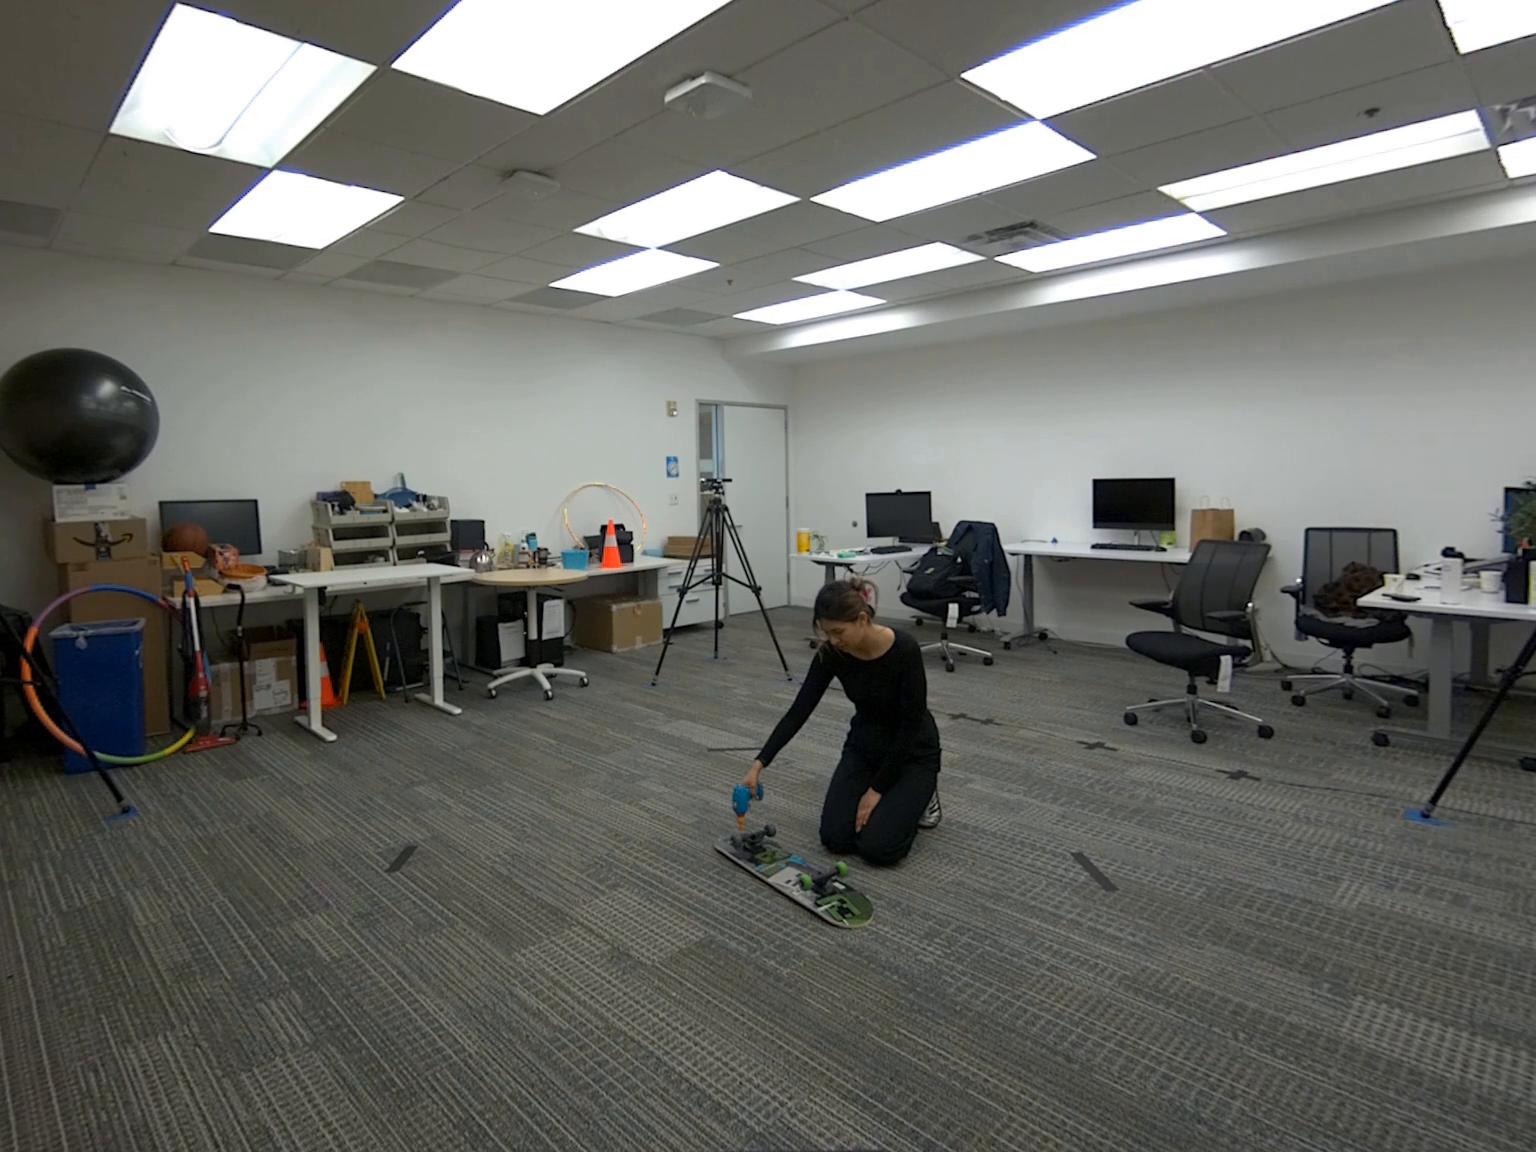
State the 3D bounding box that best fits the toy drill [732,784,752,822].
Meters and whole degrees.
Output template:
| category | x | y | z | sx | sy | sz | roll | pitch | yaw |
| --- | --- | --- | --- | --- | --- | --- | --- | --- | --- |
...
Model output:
| category | x | y | z | sx | sy | sz | roll | pitch | yaw |
| --- | --- | --- | --- | --- | --- | --- | --- | --- | --- |
| toy drill | -0.072 | 0.851 | 3.157 | 0.062 | 0.170 | 0.142 | -9 | -3 | 33 |
